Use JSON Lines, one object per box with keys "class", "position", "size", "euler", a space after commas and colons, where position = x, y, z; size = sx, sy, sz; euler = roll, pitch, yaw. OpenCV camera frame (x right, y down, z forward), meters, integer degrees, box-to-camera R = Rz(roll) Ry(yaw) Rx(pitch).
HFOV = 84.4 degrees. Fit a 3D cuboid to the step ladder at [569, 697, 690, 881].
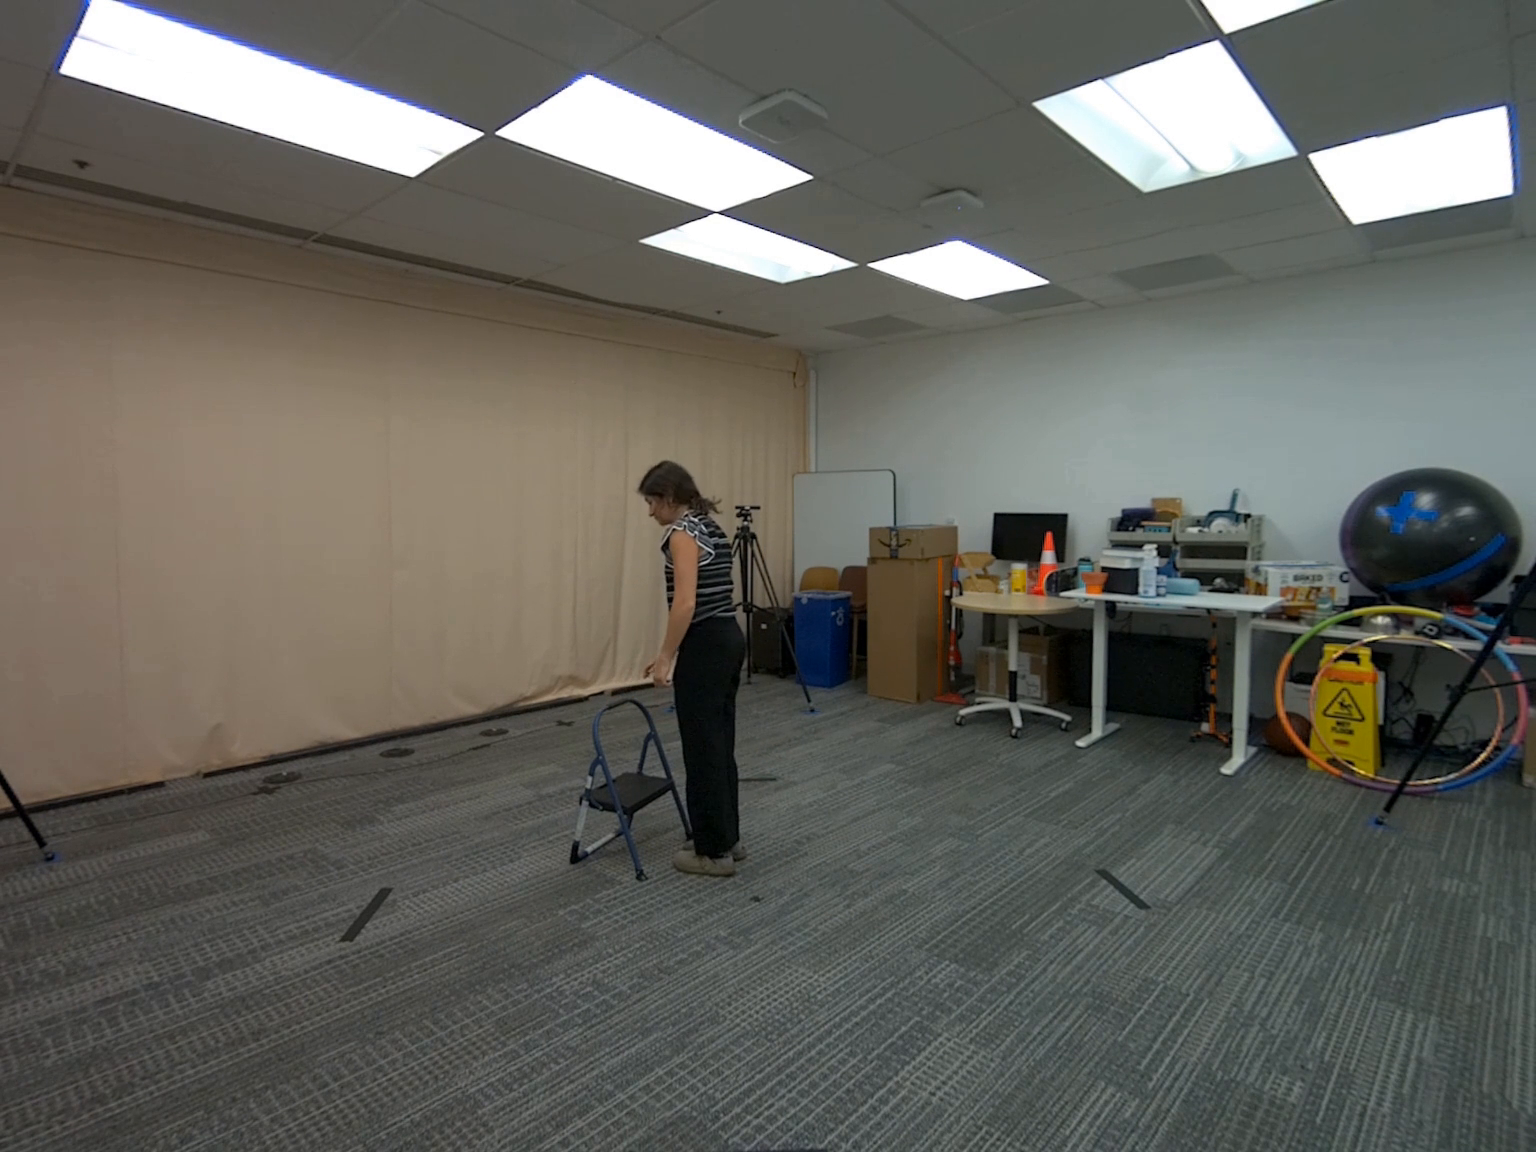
{"class": "step ladder", "position": [-0.544, 0.816, 3.388], "size": [0.358, 0.605, 0.421], "euler": [1, 3, 25]}
